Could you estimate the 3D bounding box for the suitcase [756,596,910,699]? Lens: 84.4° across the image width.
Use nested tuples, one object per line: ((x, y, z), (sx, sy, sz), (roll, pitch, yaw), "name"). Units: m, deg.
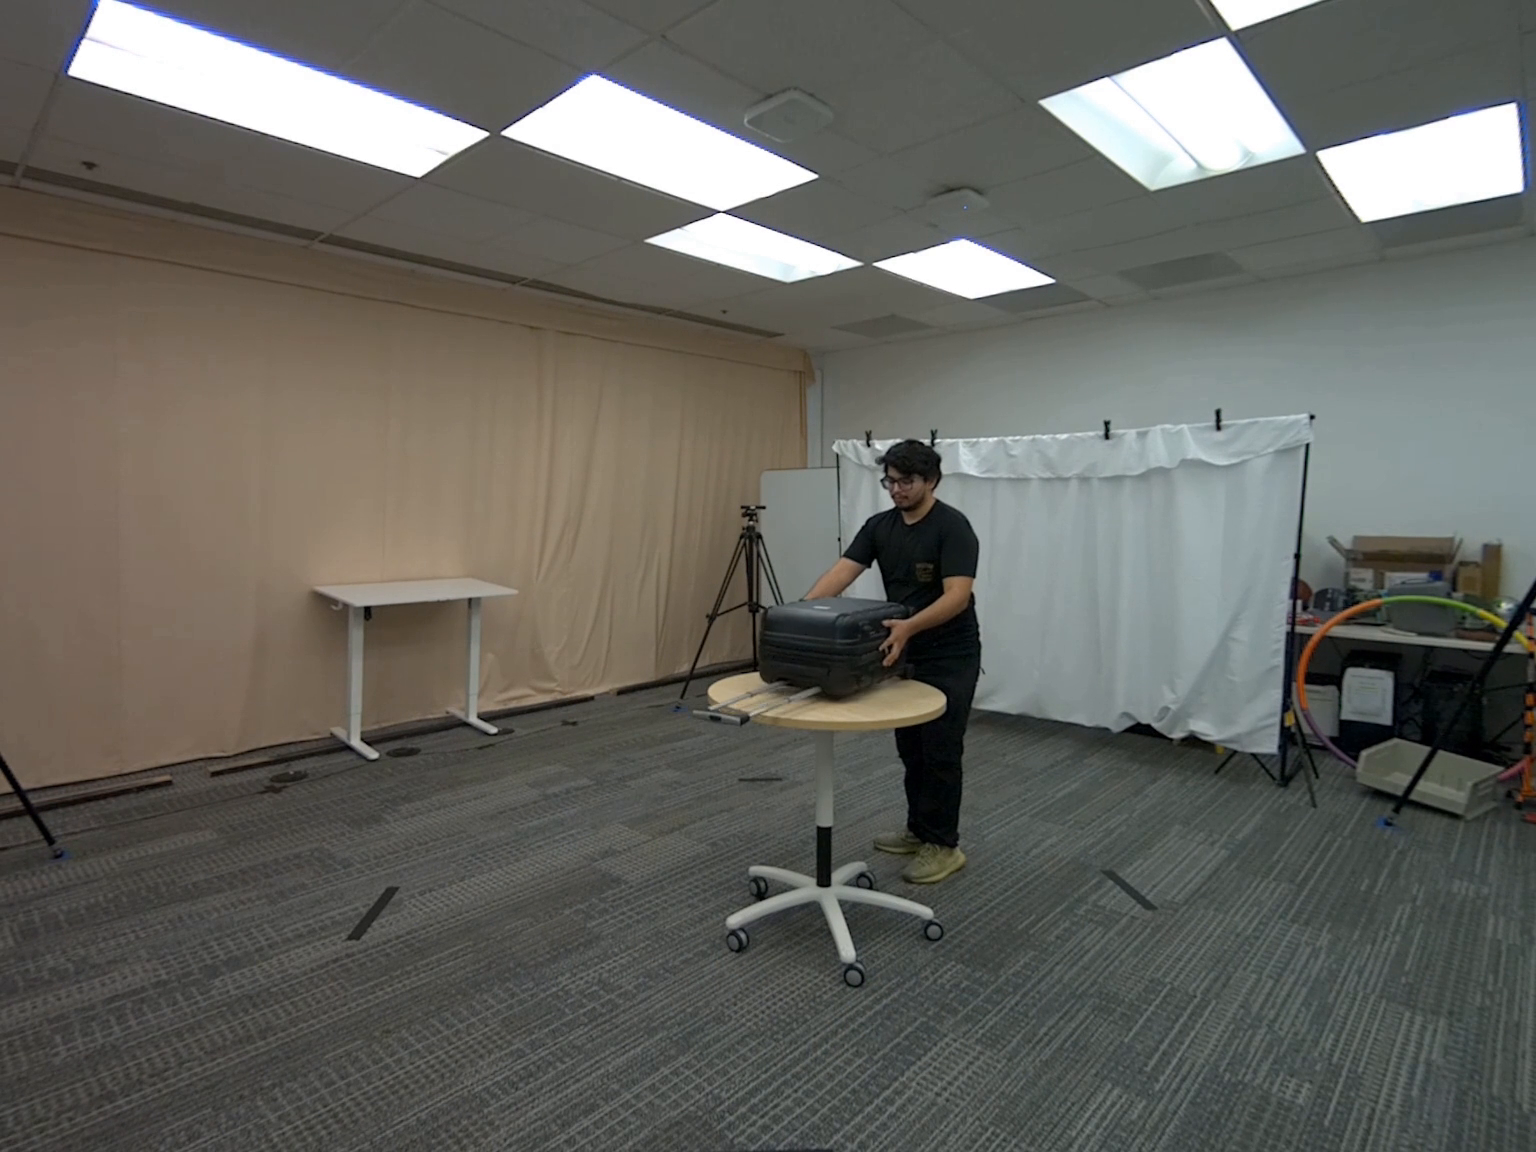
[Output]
((0.123, 0.230, 2.661), (0.396, 0.256, 0.950), (7, 4, 33), "suitcase")
